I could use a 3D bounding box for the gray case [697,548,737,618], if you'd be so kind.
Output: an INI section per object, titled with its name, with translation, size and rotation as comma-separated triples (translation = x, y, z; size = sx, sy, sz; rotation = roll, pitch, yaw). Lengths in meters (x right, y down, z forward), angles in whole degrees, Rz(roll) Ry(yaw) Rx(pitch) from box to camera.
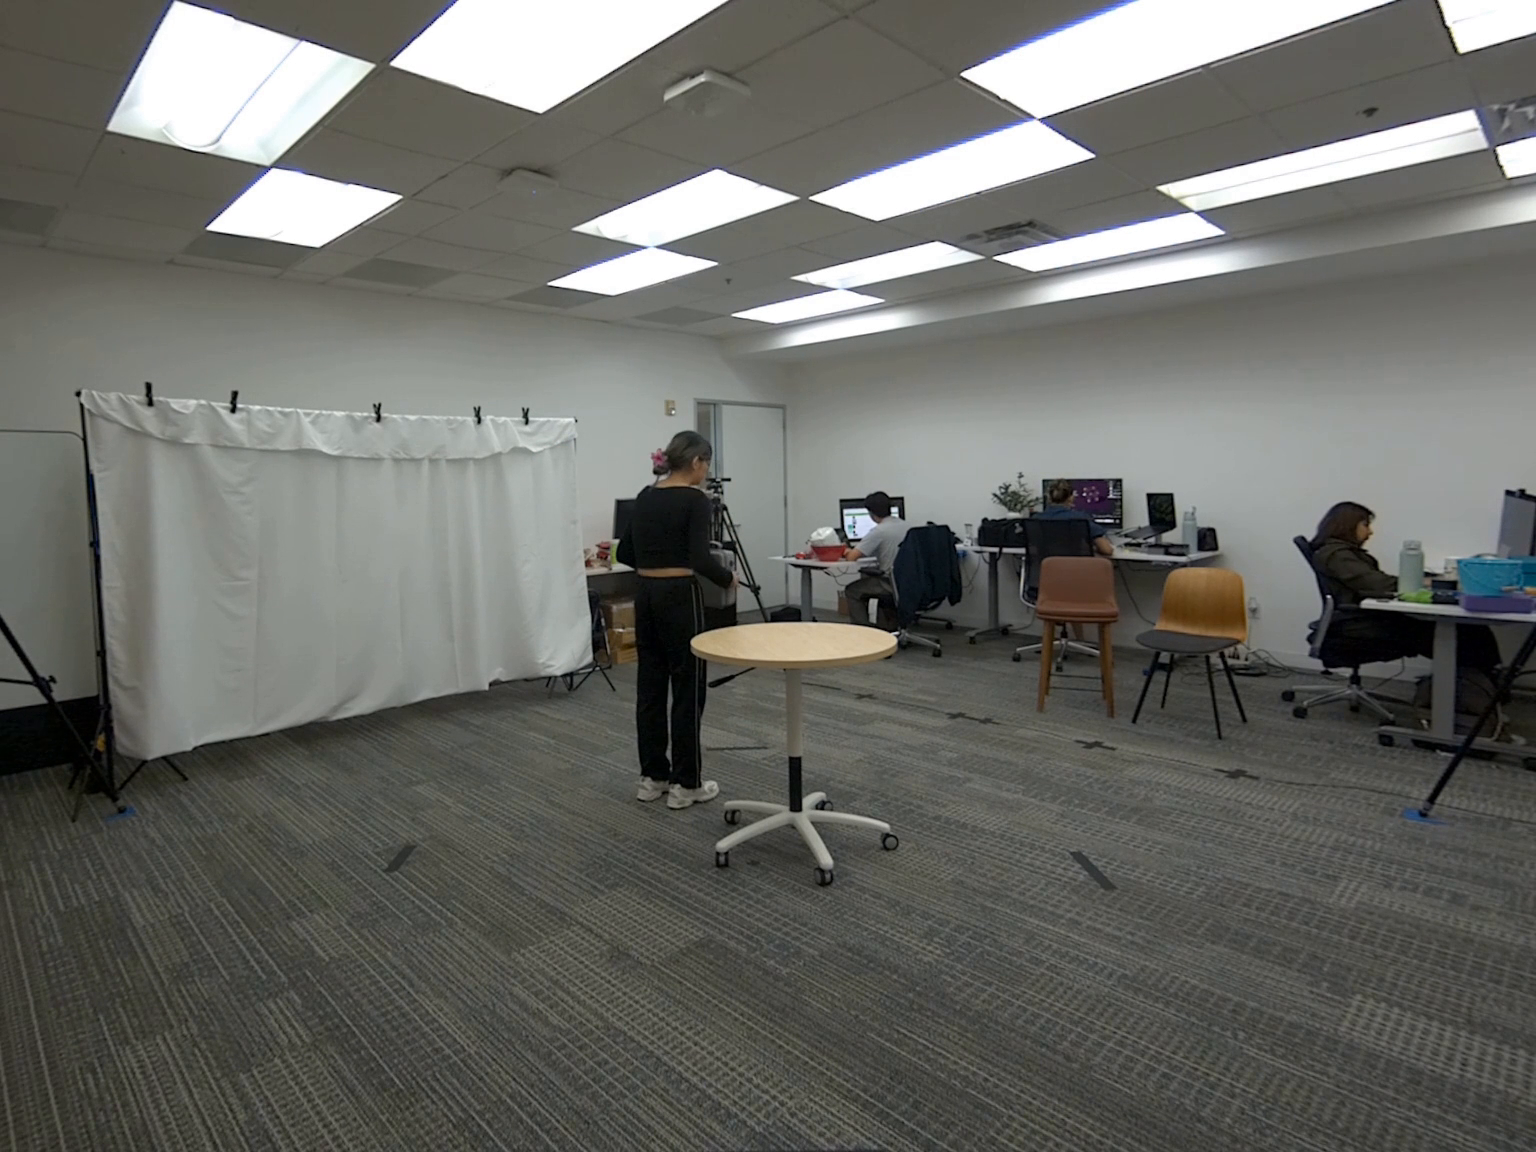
[gray case]
translation = -0.274, 0.006, 3.906
size = 0.265, 0.260, 0.101
rotation = 4, 4, 45
